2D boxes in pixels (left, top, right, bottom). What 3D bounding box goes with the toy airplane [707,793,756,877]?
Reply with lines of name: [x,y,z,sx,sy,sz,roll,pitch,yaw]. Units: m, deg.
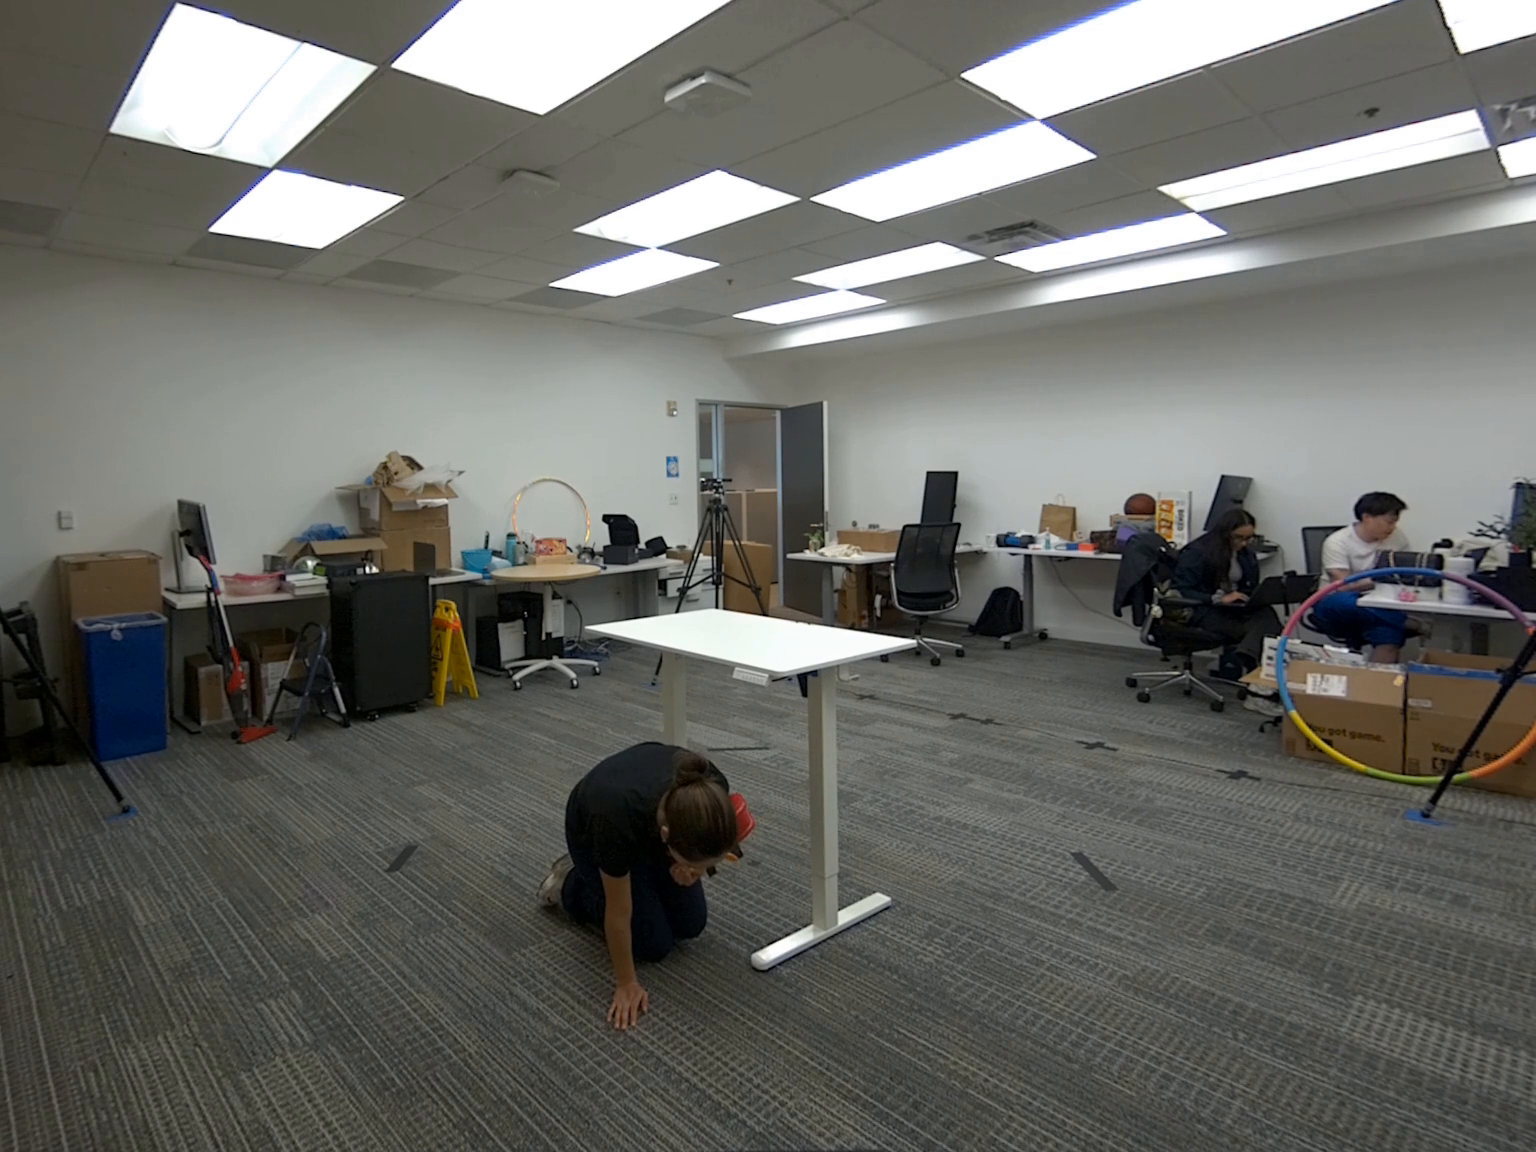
toy airplane: [-0.183,0.701,2.392,0.267,0.151,0.252,17,53,27]
